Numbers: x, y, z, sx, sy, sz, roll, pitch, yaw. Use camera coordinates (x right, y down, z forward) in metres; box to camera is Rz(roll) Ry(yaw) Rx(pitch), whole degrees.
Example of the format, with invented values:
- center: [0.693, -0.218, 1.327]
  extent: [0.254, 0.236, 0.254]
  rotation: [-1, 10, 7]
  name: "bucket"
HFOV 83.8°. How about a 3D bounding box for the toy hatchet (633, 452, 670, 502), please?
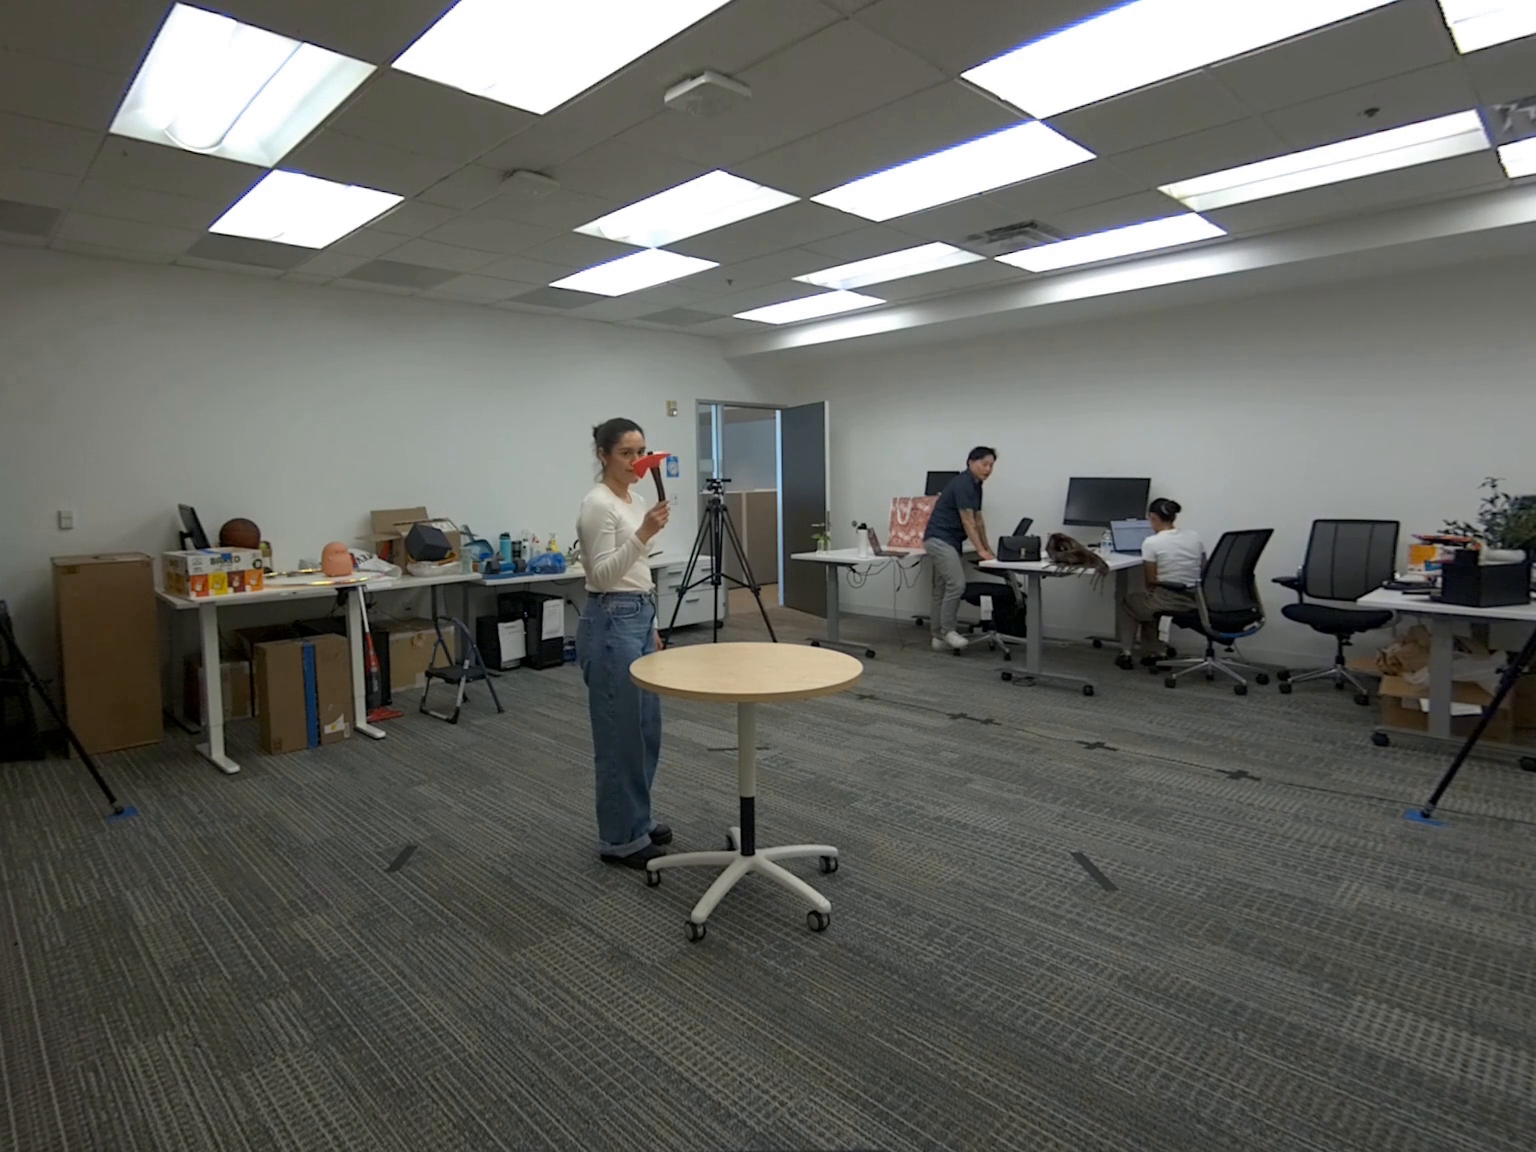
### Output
- center: [-0.404, -0.293, 2.883]
  extent: [0.129, 0.266, 0.030]
  rotation: [0, 22, -19]
  name: "toy hatchet"
